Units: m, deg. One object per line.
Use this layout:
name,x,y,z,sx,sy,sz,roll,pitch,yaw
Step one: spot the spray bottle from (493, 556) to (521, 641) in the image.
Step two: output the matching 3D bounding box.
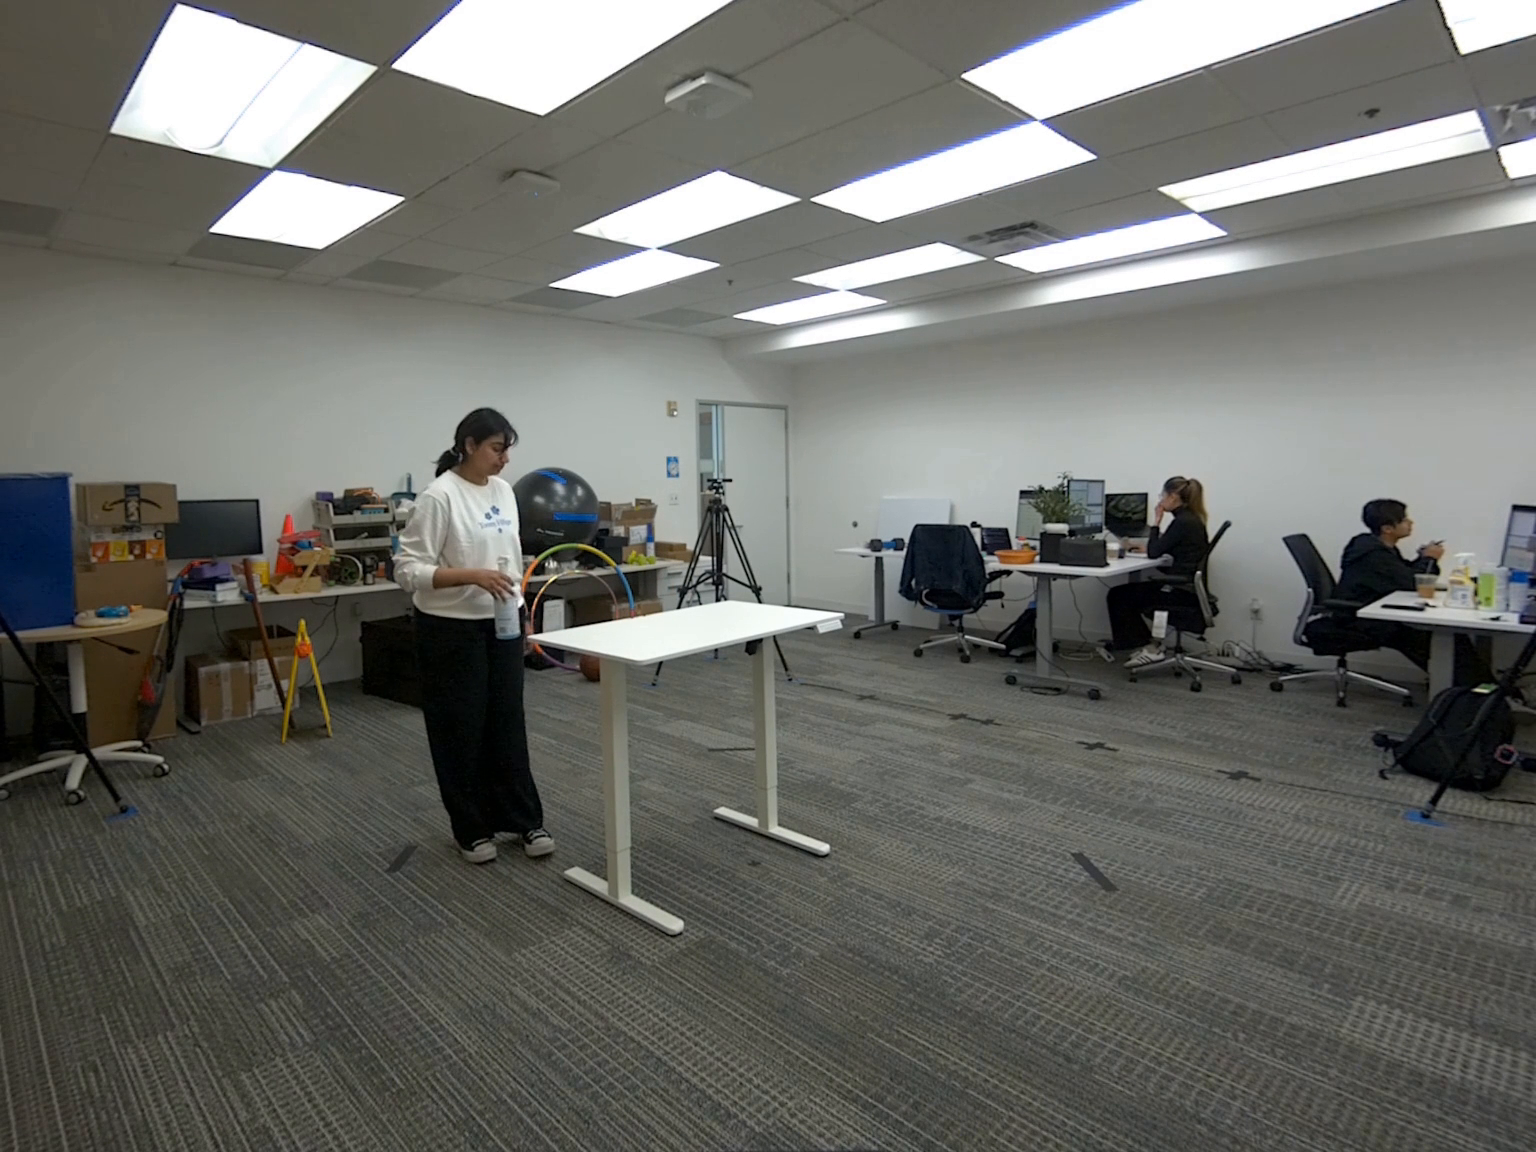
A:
spray bottle,-0.943,0.074,3.053,0.086,0.295,0.092,-4,6,-16
